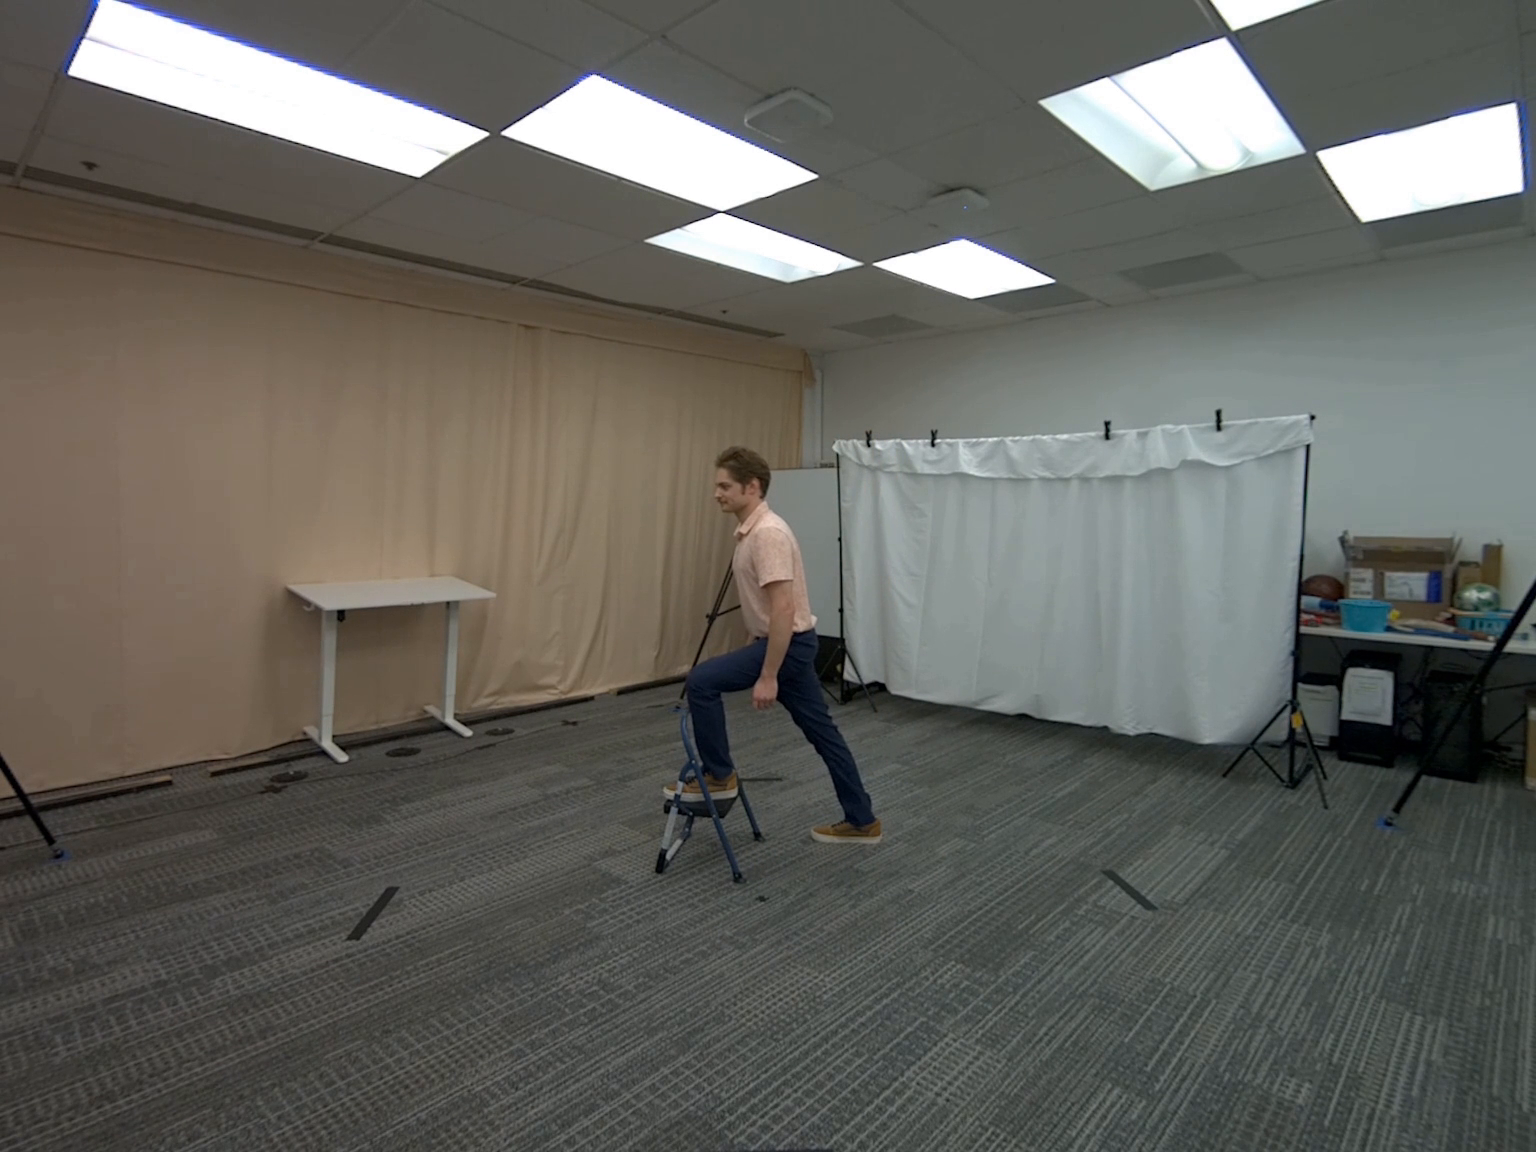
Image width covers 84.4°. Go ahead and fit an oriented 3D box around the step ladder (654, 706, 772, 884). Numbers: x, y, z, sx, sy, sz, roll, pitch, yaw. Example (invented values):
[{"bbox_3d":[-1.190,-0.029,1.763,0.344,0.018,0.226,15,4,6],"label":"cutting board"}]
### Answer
[{"bbox_3d":[-0.226,0.812,3.336,0.354,0.605,0.426,0,3,11],"label":"step ladder"}]
